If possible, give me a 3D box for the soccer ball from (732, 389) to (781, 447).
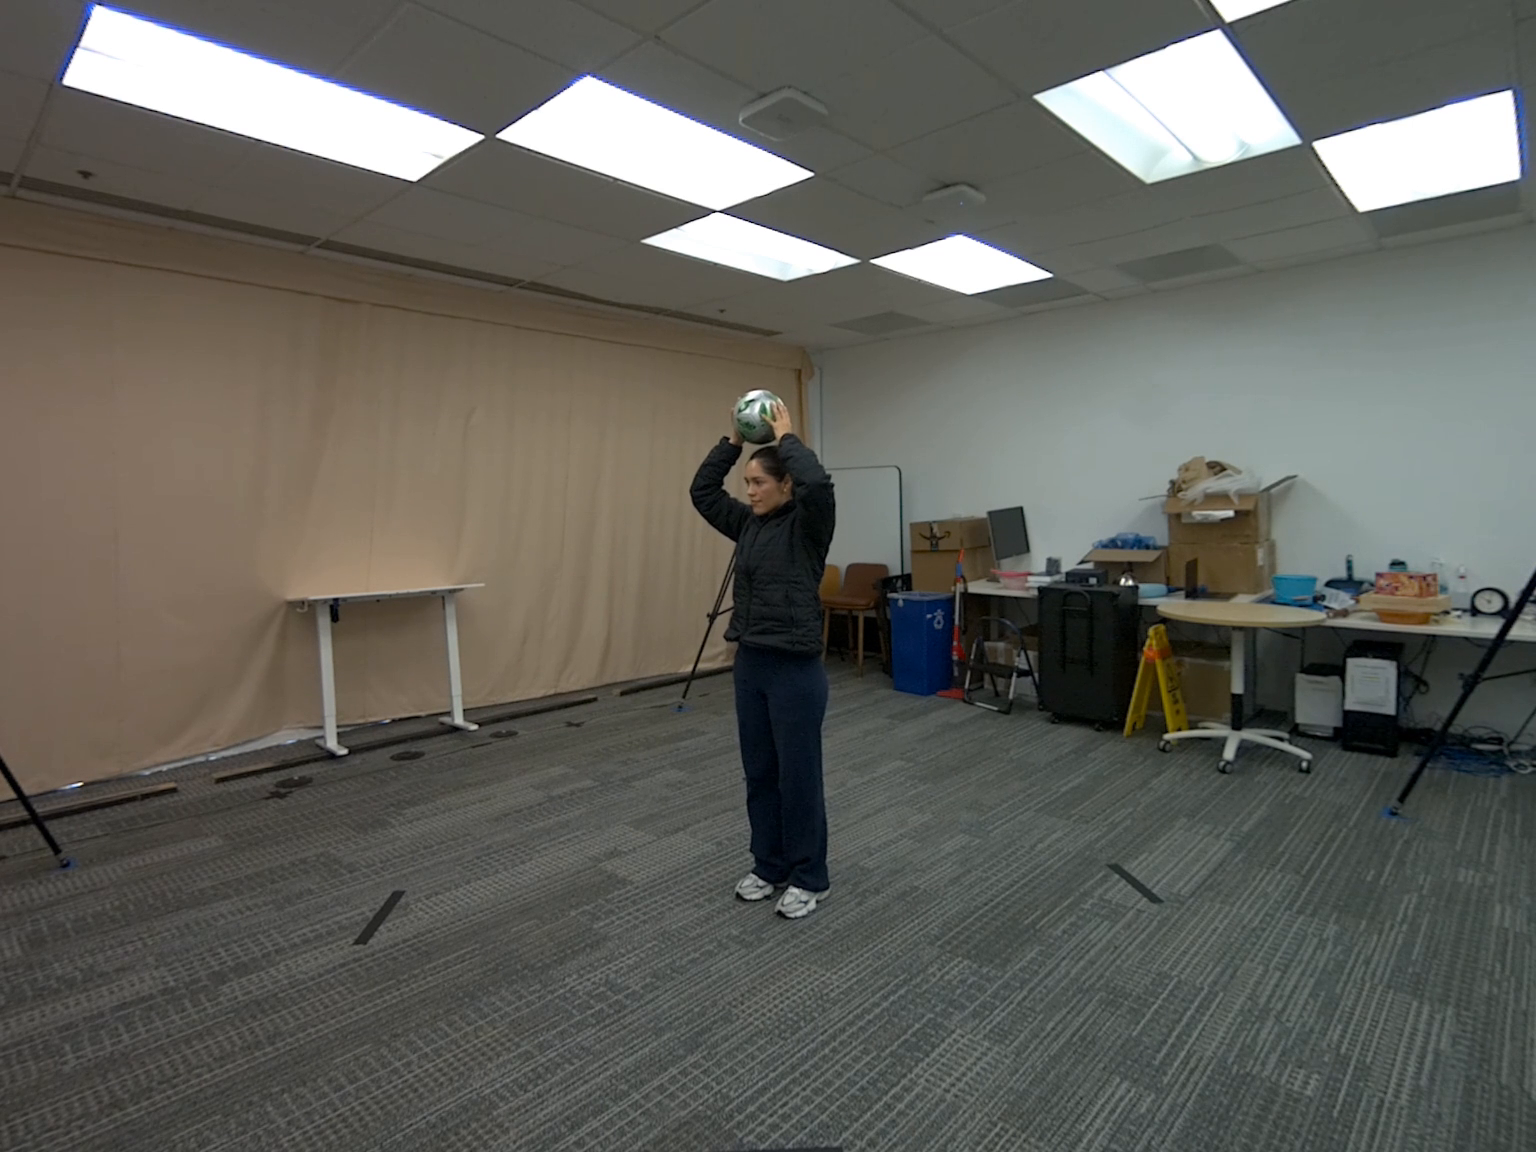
[{"bbox_3d":[-0.022,-0.542,2.900,0.187,0.187,0.188,-1,4,-2],"label":"soccer ball"}]
